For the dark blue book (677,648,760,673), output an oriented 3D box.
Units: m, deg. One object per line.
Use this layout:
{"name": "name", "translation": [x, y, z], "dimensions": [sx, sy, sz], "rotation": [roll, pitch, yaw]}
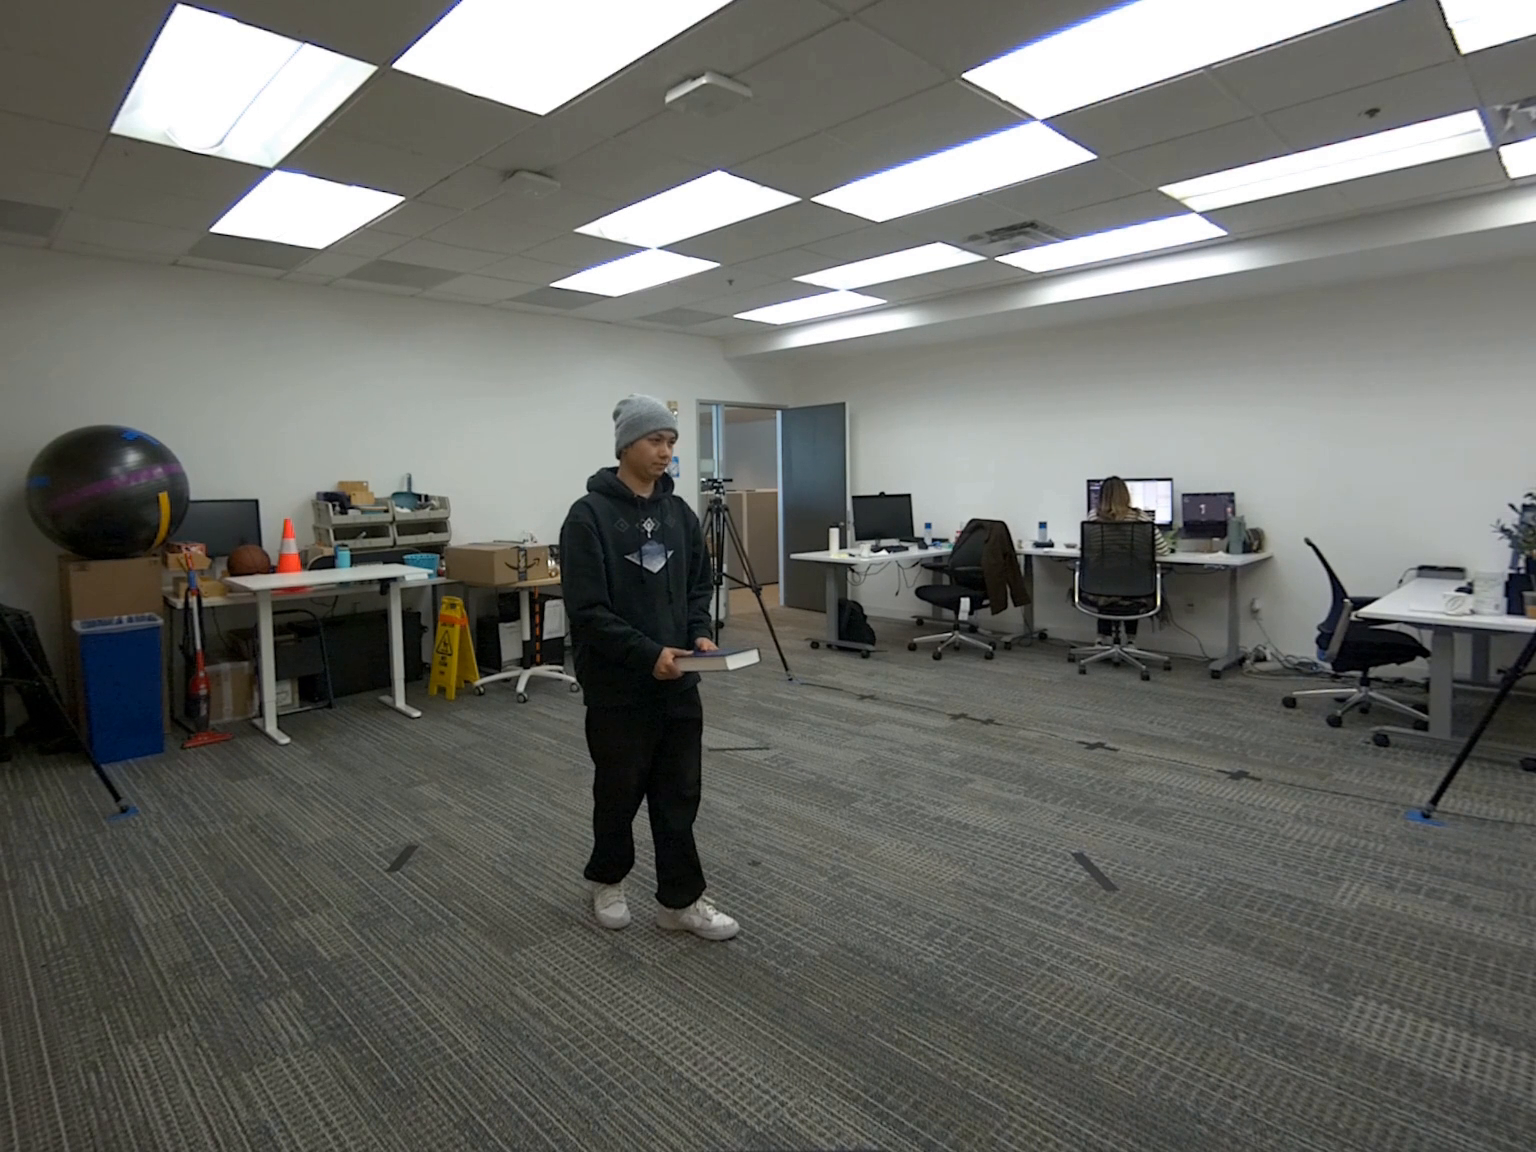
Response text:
{"name": "dark blue book", "translation": [-0.174, 0.239, 2.451], "dimensions": [0.251, 0.045, 0.159], "rotation": [-5, 0, 33]}
